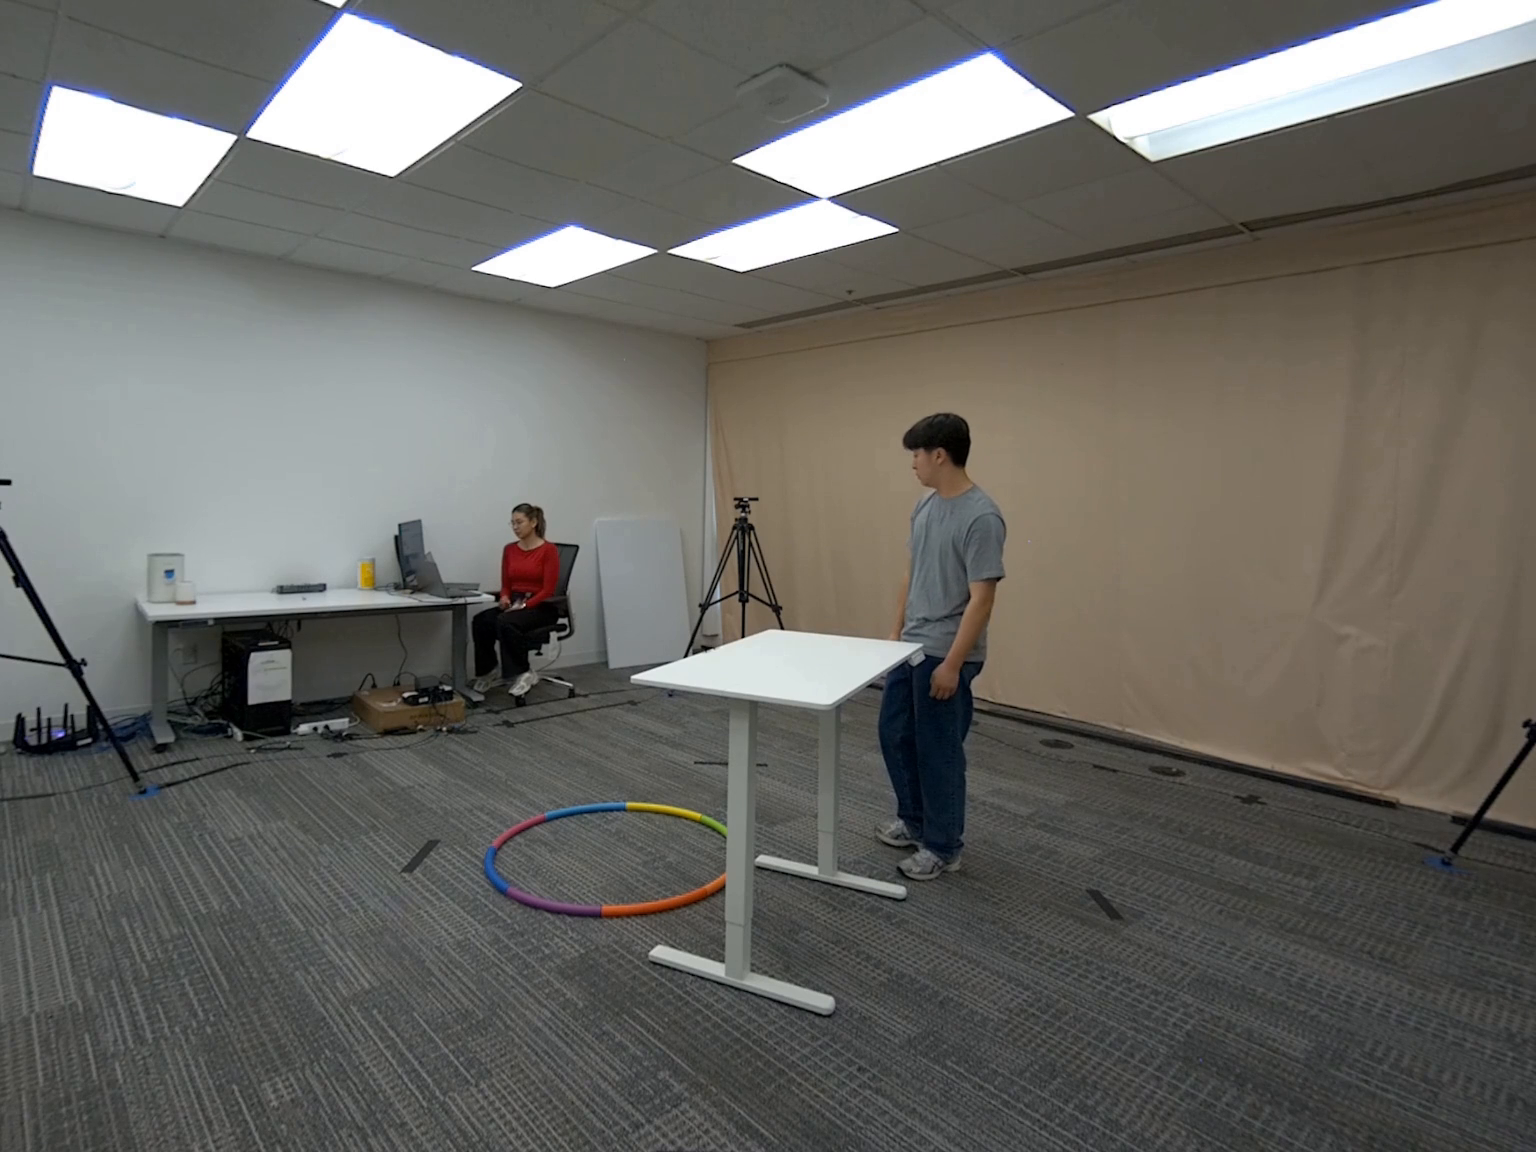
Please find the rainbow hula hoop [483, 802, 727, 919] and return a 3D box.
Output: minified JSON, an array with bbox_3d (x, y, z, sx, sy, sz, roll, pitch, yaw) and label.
[{"bbox_3d":[-0.594,1.050,3.264,0.978,0.035,0.982,2,5,-1],"label":"rainbow hula hoop"}]
